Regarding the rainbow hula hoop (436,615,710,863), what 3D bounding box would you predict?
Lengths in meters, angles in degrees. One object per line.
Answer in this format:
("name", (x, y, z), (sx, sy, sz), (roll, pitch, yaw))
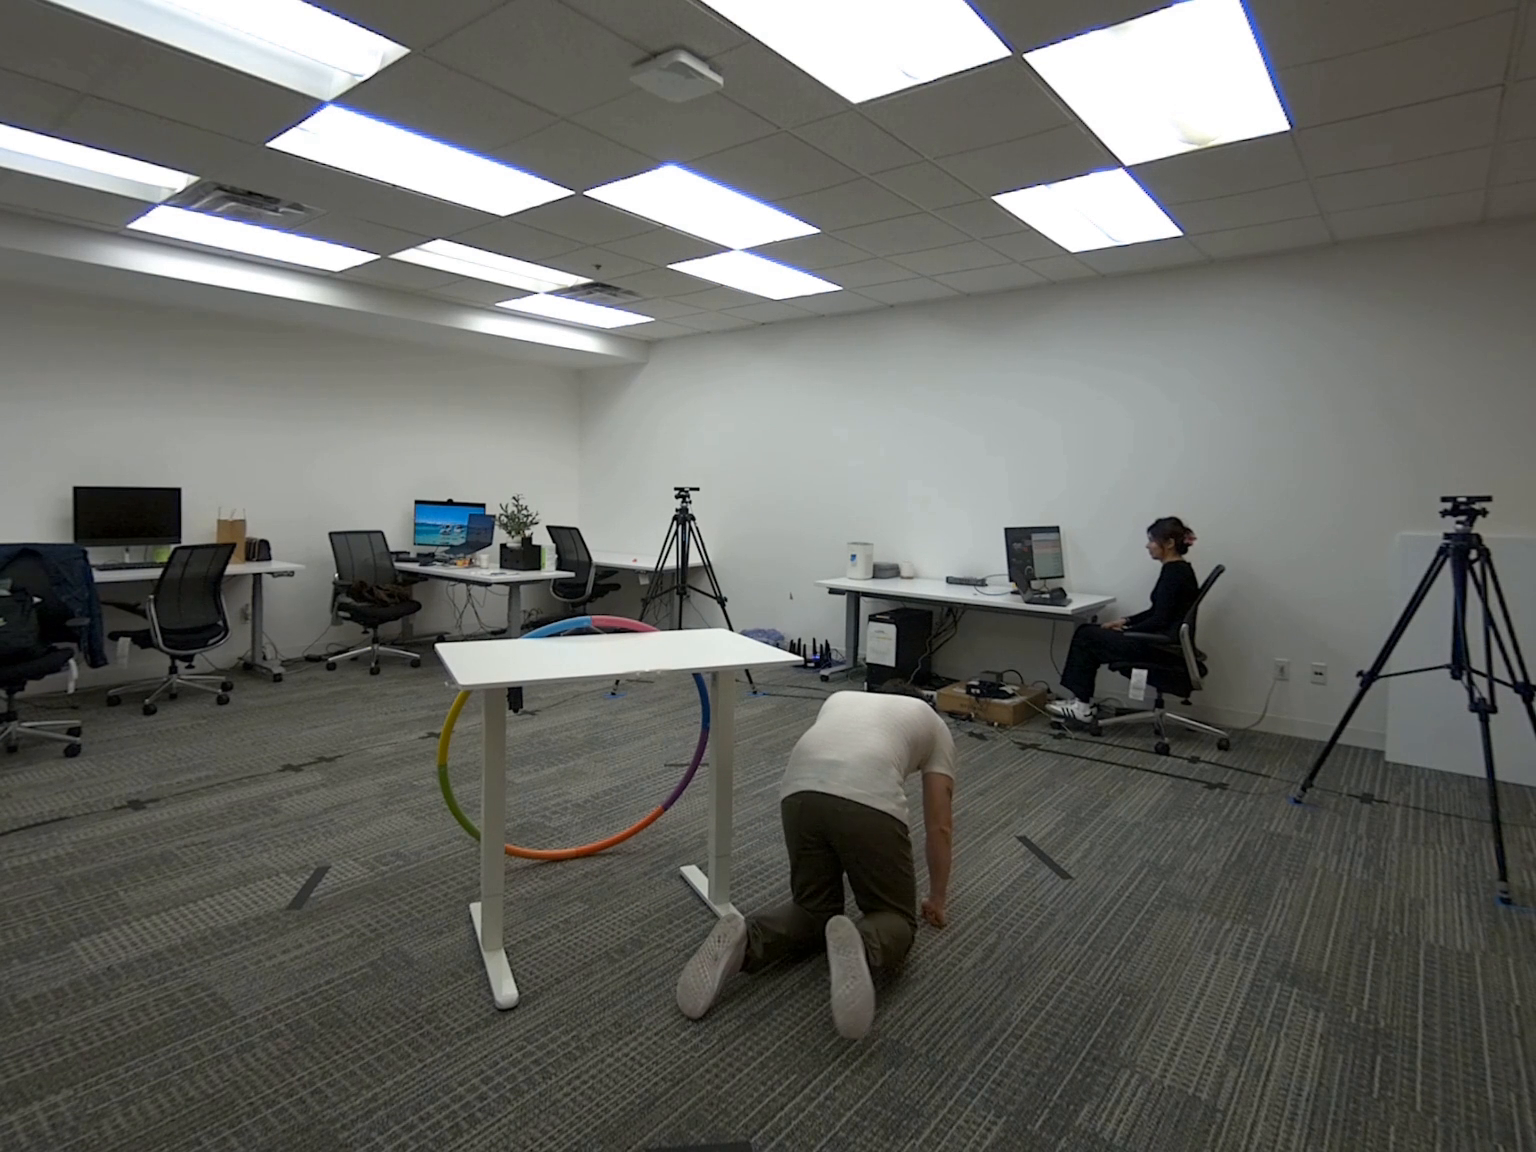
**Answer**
("rainbow hula hoop", (-0.684, 0.601, 3.044), (0.956, 0.965, 0.037), (-1, 20, -25))
